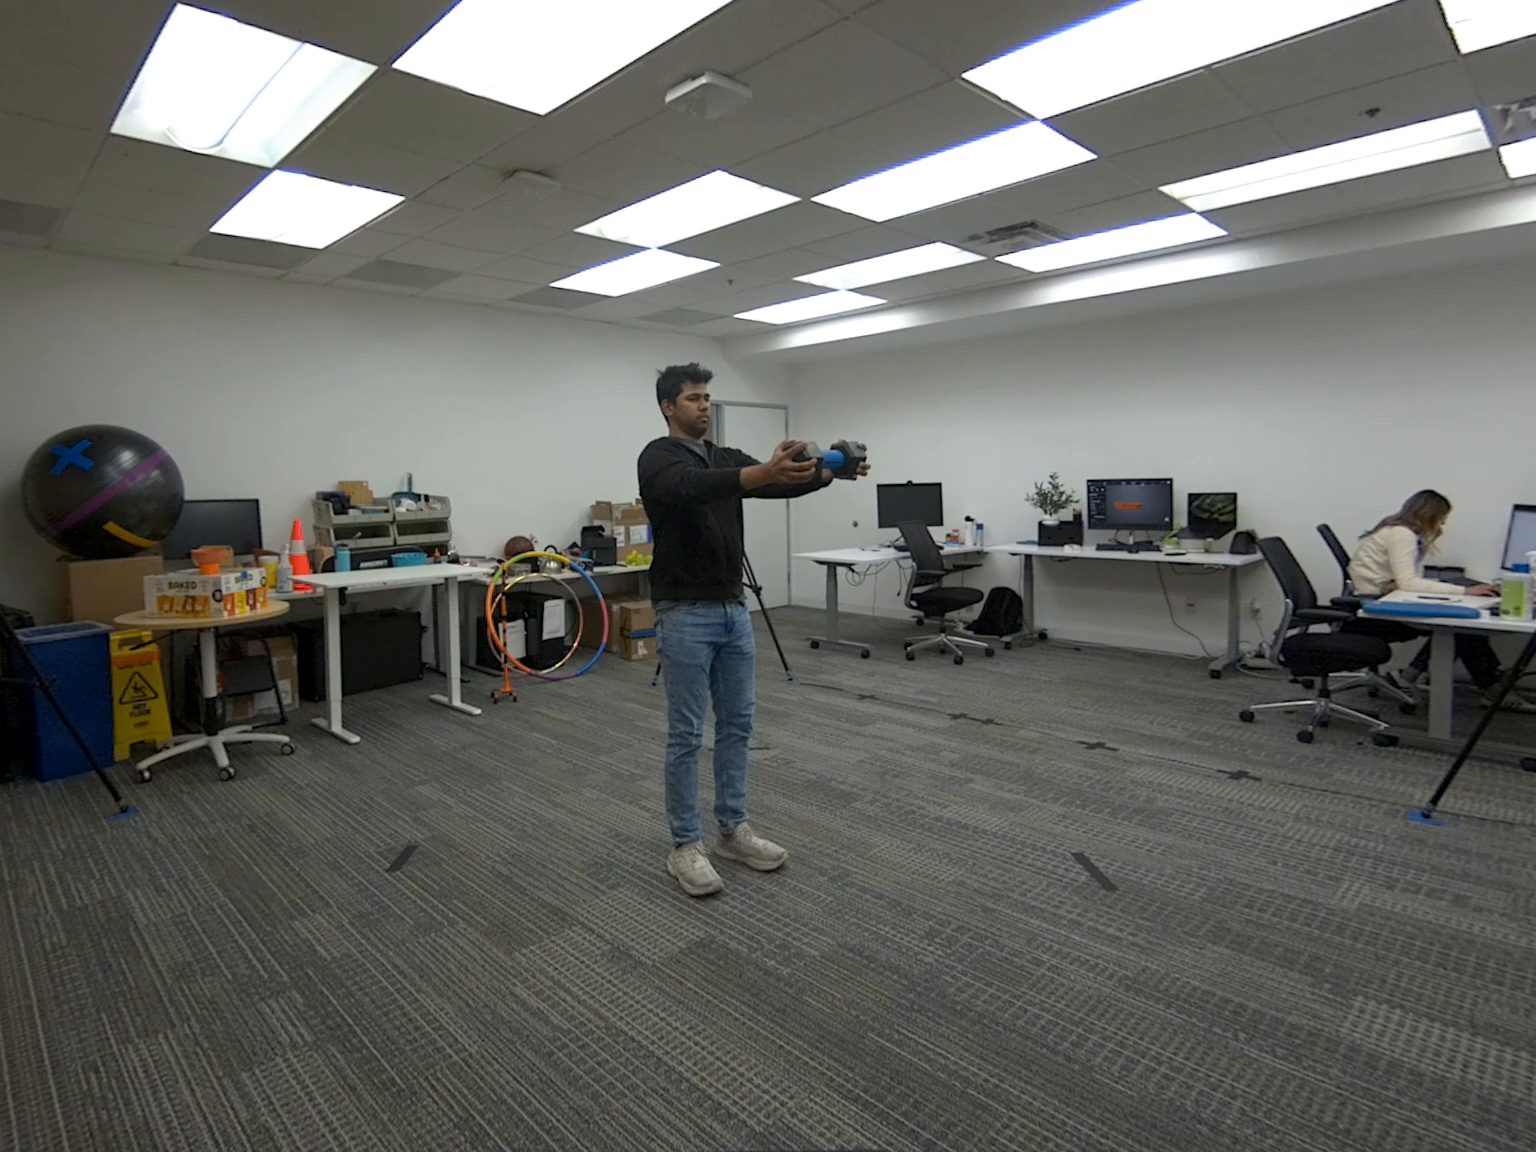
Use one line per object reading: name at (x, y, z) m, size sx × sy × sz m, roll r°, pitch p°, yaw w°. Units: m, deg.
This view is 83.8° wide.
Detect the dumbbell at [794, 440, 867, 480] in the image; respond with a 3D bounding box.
dumbbell at (0.169, -0.380, 2.664) m, size 0.286 × 0.121 × 0.113 m, roll -7°, pitch 36°, yaw -42°
